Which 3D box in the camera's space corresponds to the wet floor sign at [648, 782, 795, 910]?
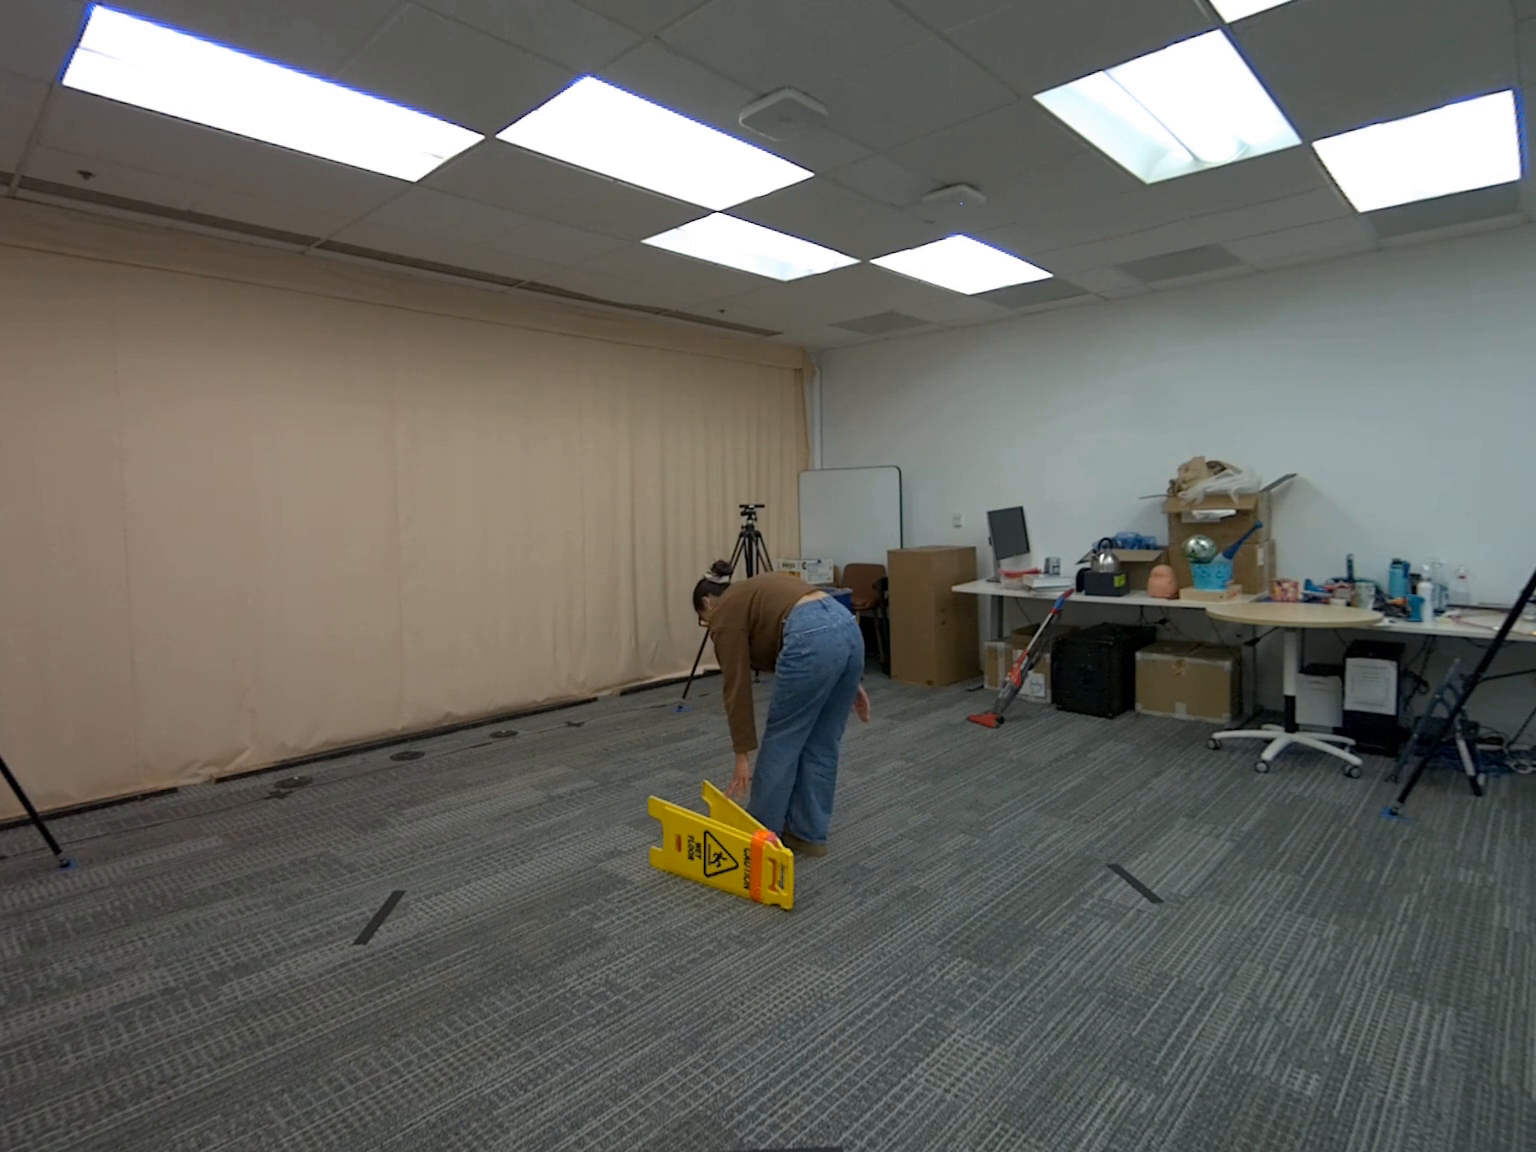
[{"bbox_3d":[-0.134,1.002,3.108,0.281,0.281,0.668,-5,8,-42],"label":"wet floor sign"}]
